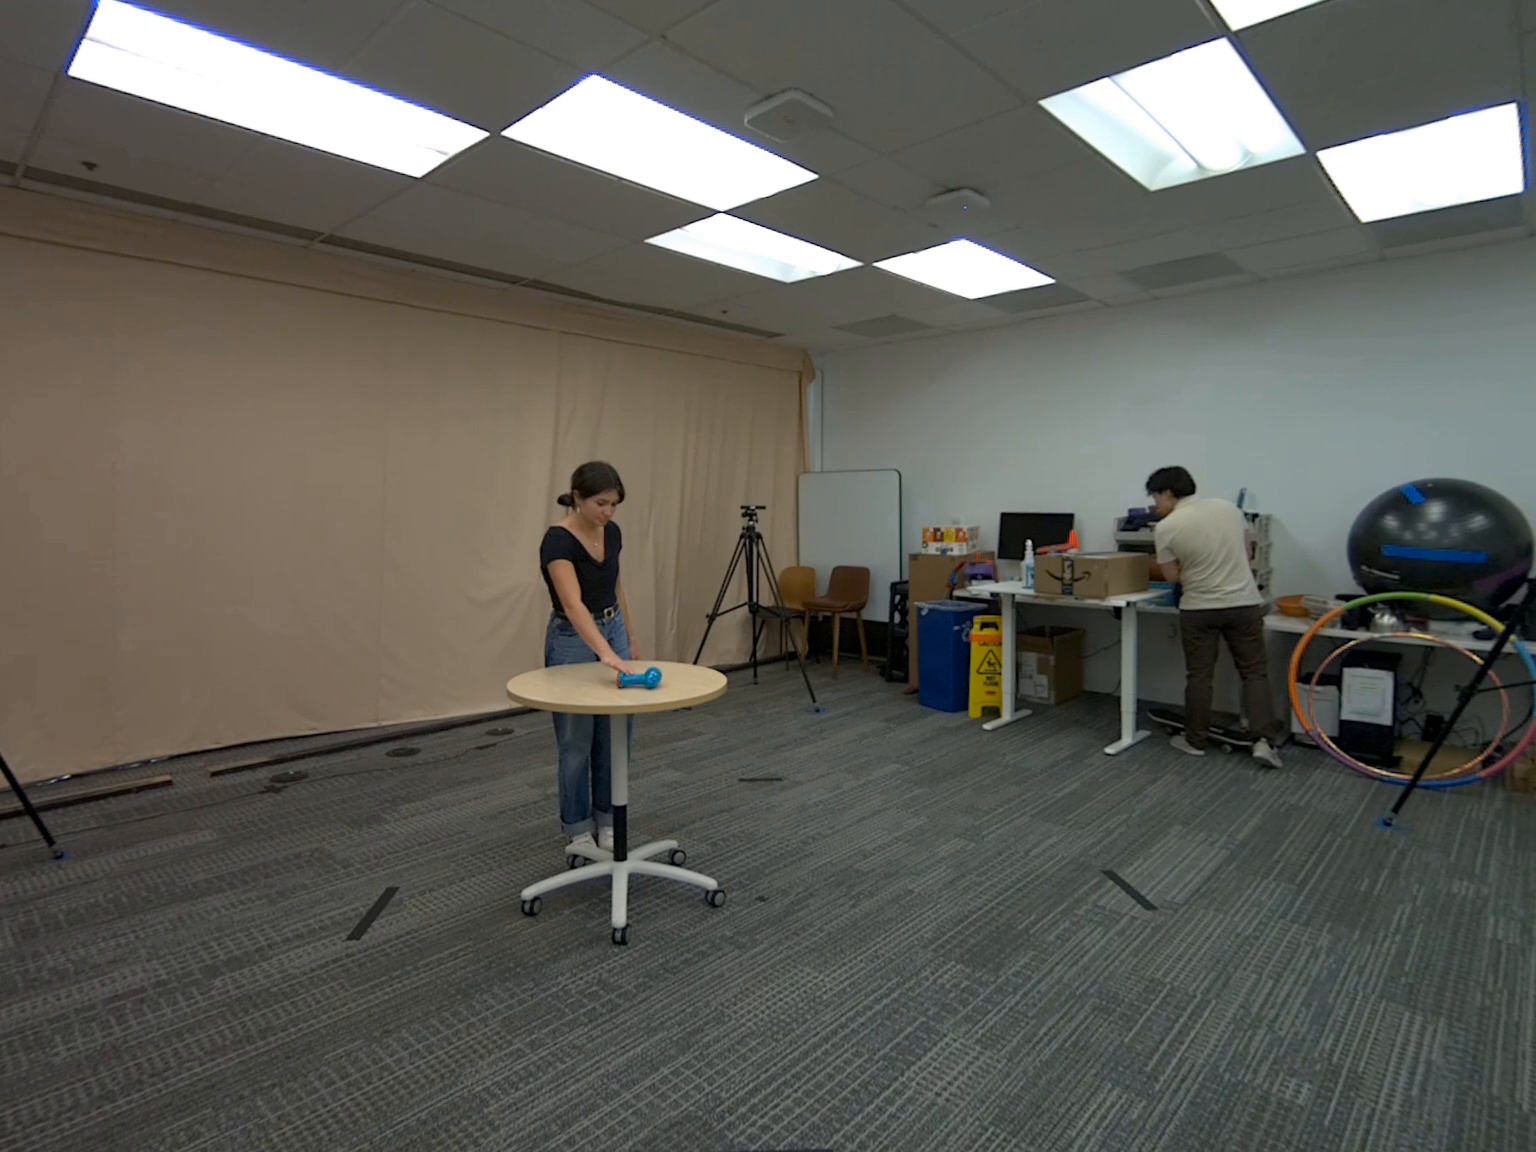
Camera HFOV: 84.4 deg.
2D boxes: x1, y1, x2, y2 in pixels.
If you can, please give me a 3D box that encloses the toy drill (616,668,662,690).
[{"bbox_3d":[-0.429,0.342,2.877,0.146,0.061,0.170,-1,13,2],"label":"toy drill"}]
